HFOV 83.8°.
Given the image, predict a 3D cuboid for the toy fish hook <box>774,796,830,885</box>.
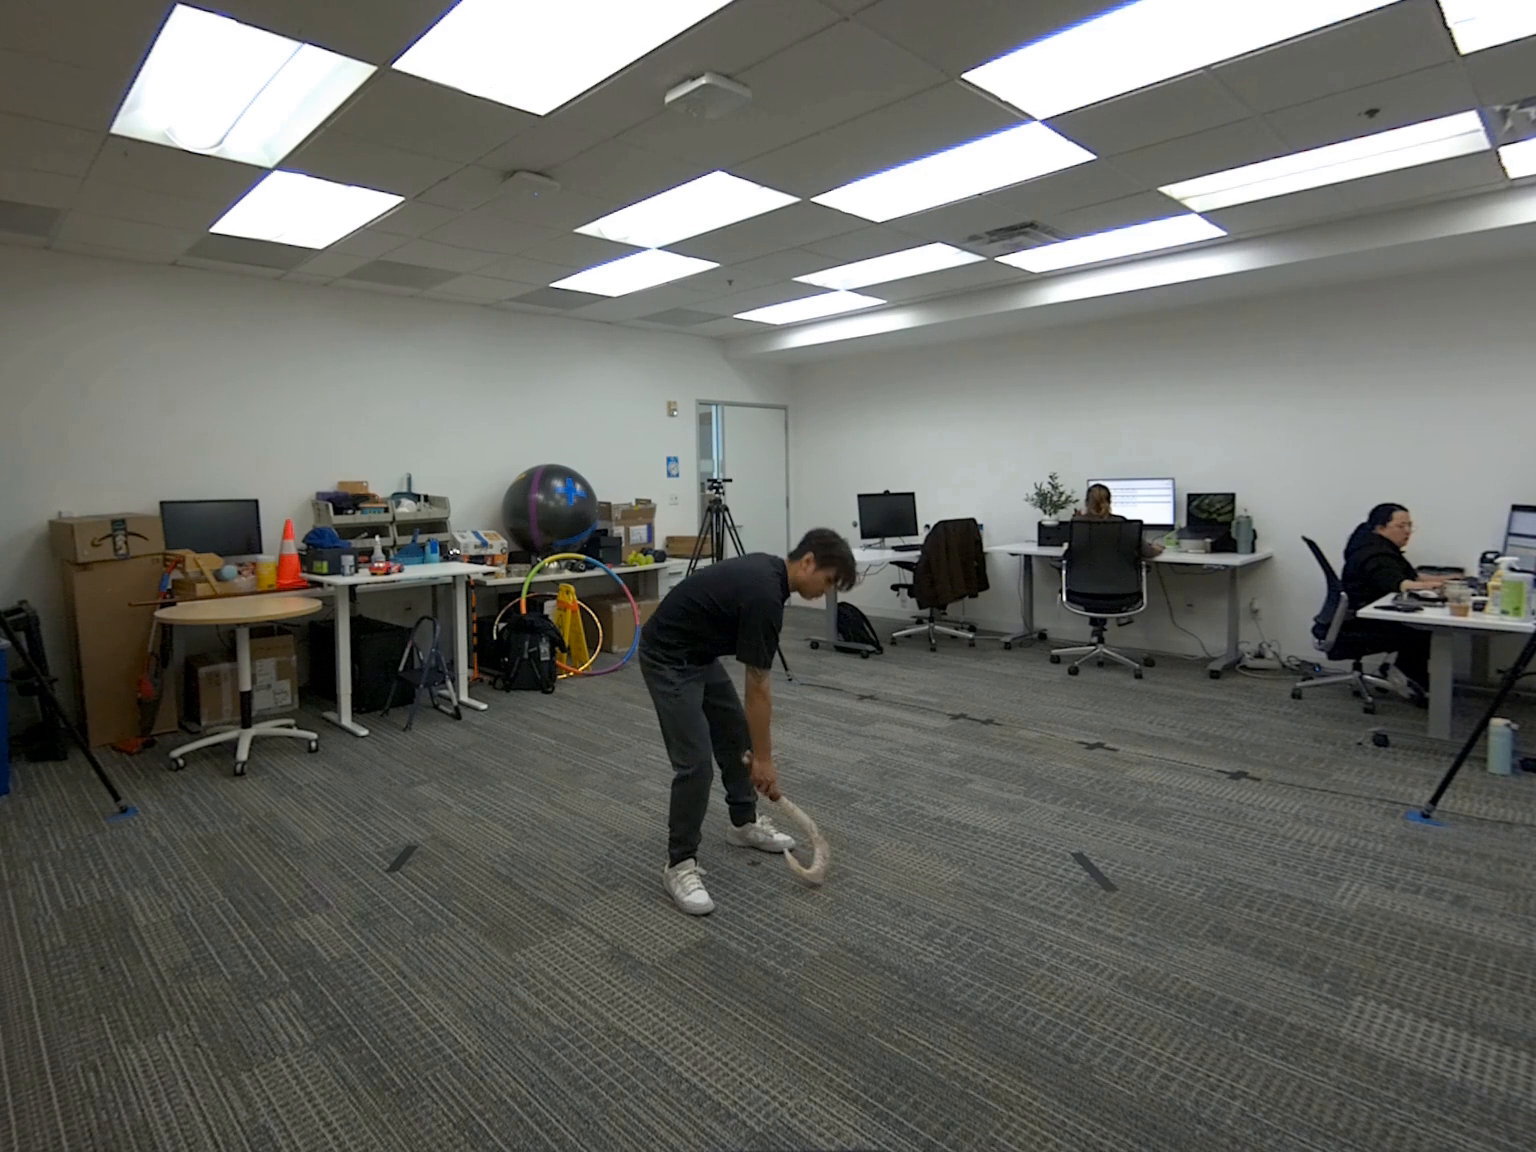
[{"bbox_3d":[0.054,0.818,2.928,0.049,0.502,0.225,-33,8,31],"label":"toy fish hook"}]
